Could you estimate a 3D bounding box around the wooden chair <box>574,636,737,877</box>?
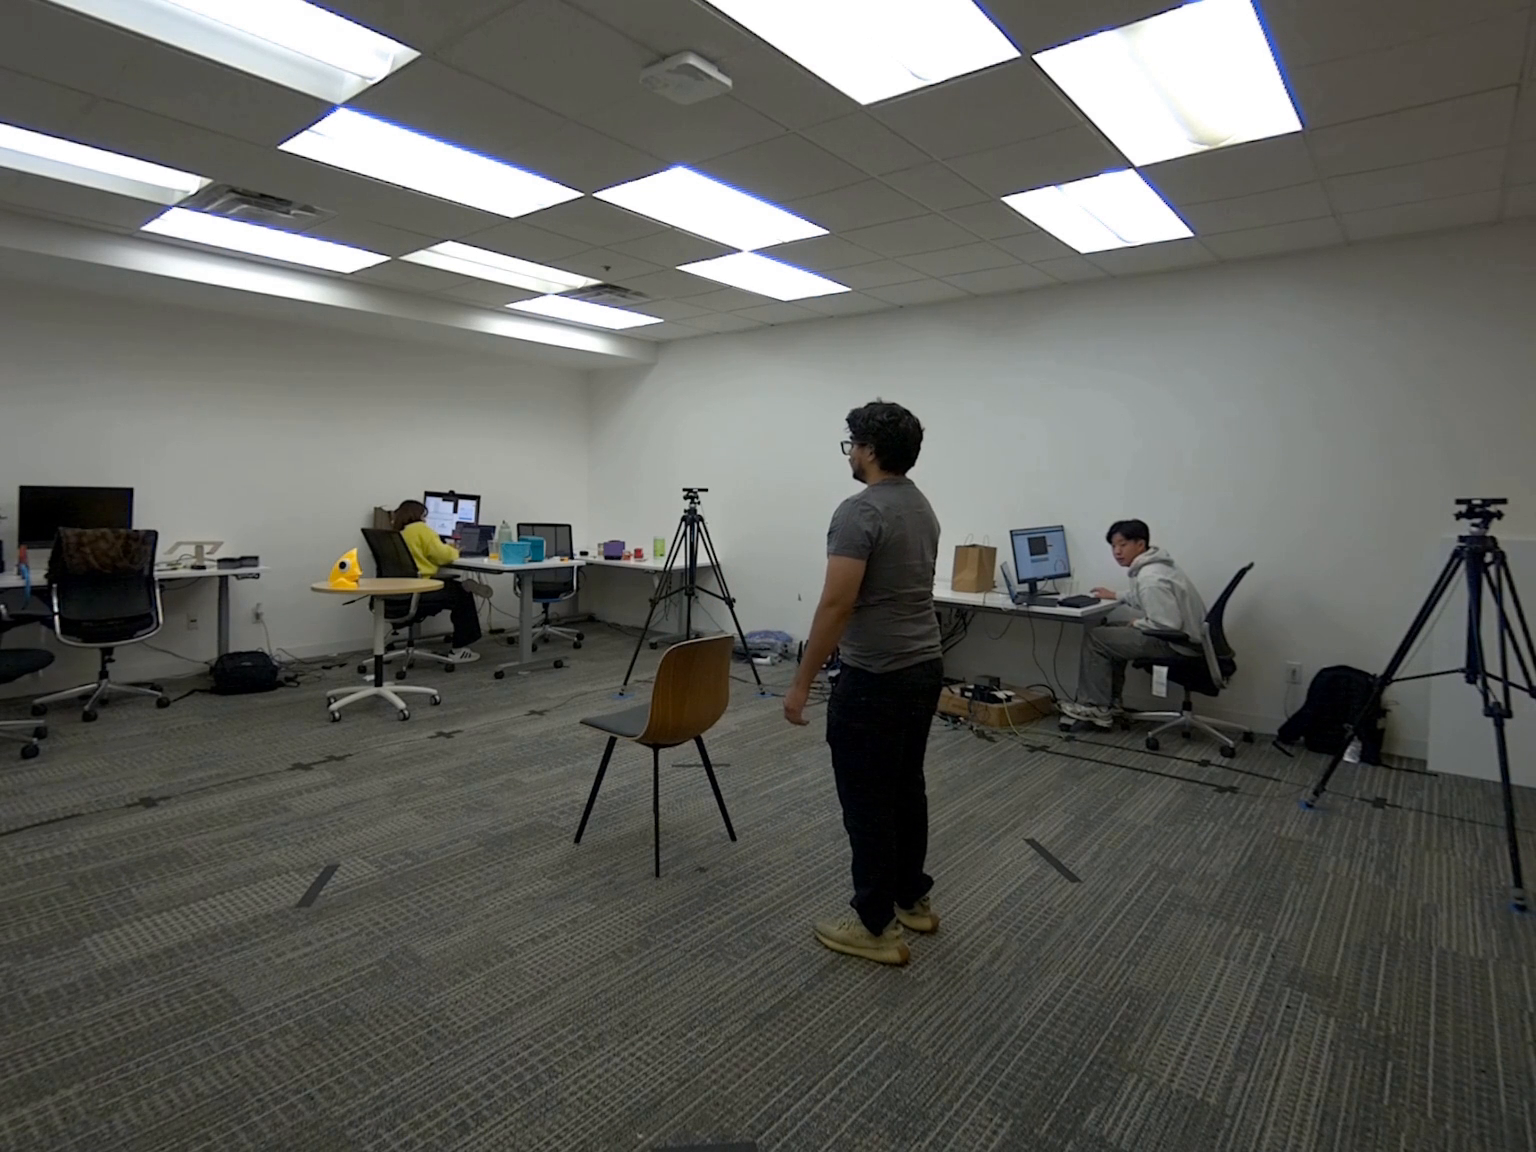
[{"bbox_3d":[-0.449,0.618,3.323,0.542,0.873,0.464,9,7,38],"label":"wooden chair"}]
